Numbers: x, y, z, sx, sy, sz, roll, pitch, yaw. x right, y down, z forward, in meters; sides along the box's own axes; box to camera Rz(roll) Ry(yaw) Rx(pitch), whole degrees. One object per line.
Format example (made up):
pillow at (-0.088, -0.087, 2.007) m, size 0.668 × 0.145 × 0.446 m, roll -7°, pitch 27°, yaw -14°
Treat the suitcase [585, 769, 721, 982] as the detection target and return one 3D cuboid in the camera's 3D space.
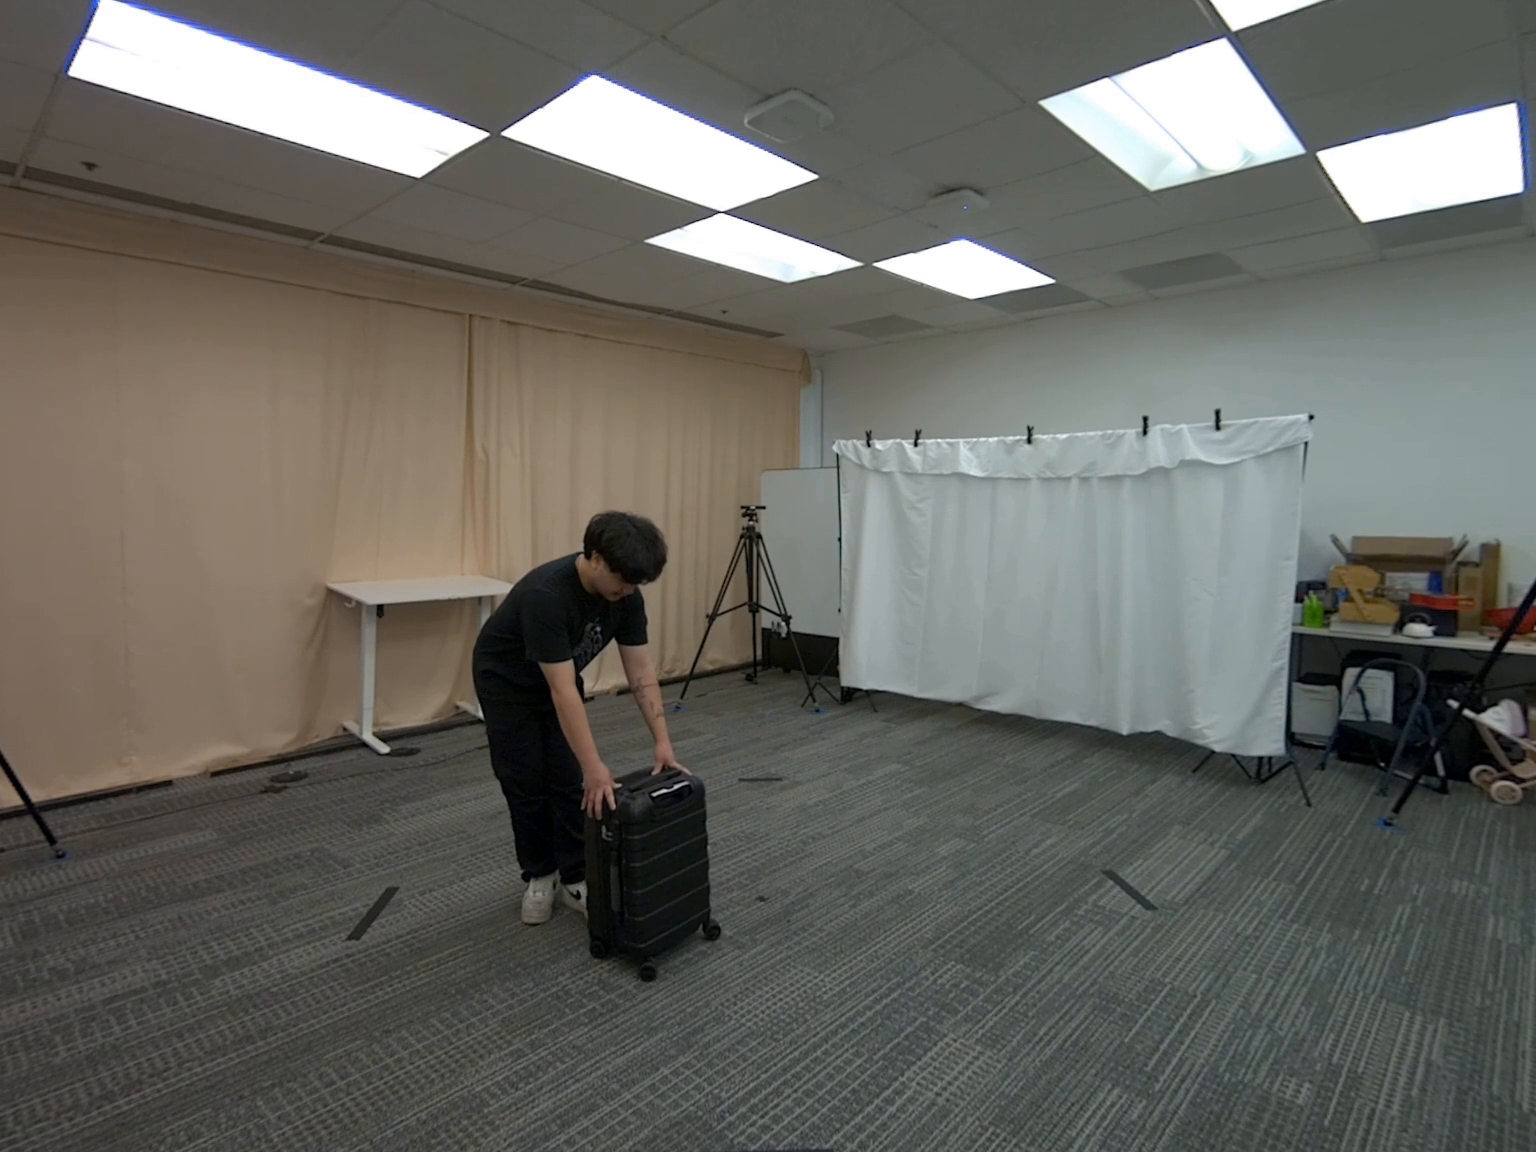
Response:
suitcase at (-0.376, 0.902, 2.650) m, size 0.256 × 0.549 × 0.364 m, roll -1°, pitch 3°, yaw 40°
